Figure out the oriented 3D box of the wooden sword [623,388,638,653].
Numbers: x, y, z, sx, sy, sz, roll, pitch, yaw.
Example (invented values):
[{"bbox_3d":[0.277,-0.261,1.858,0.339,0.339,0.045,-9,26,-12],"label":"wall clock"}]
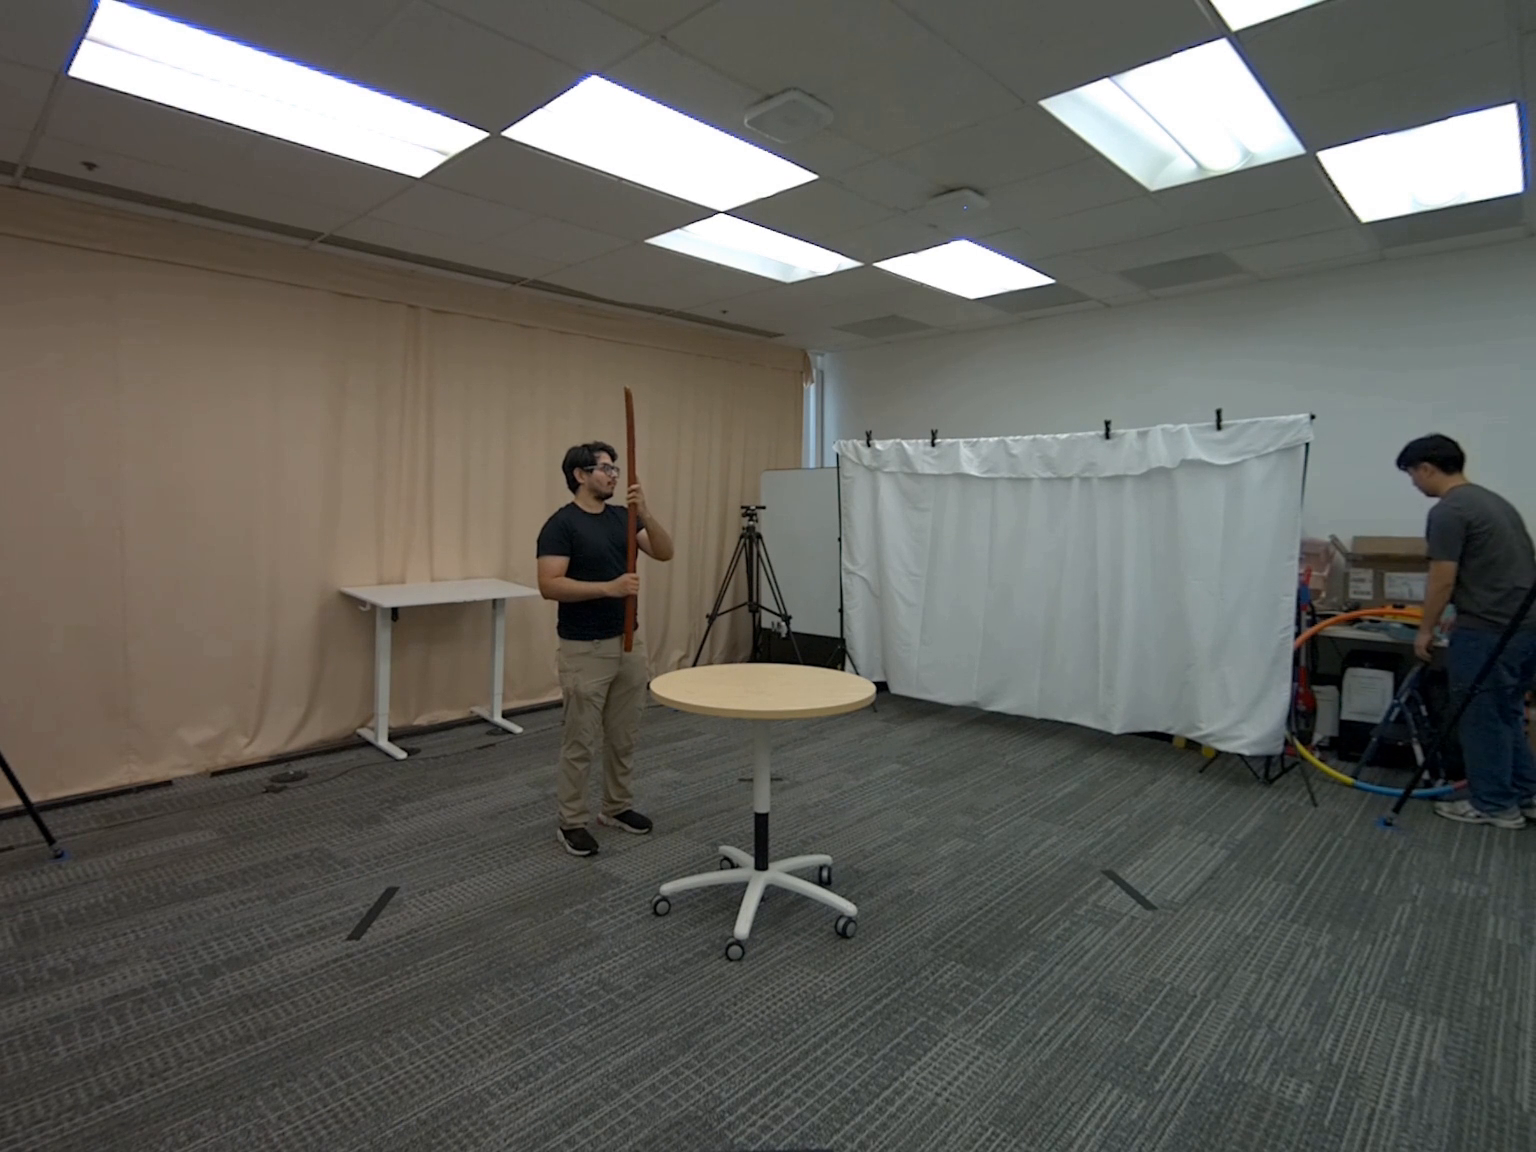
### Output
[{"bbox_3d":[-0.524,-0.231,3.274,0.025,1.022,0.050,1,4,25],"label":"wooden sword"}]
